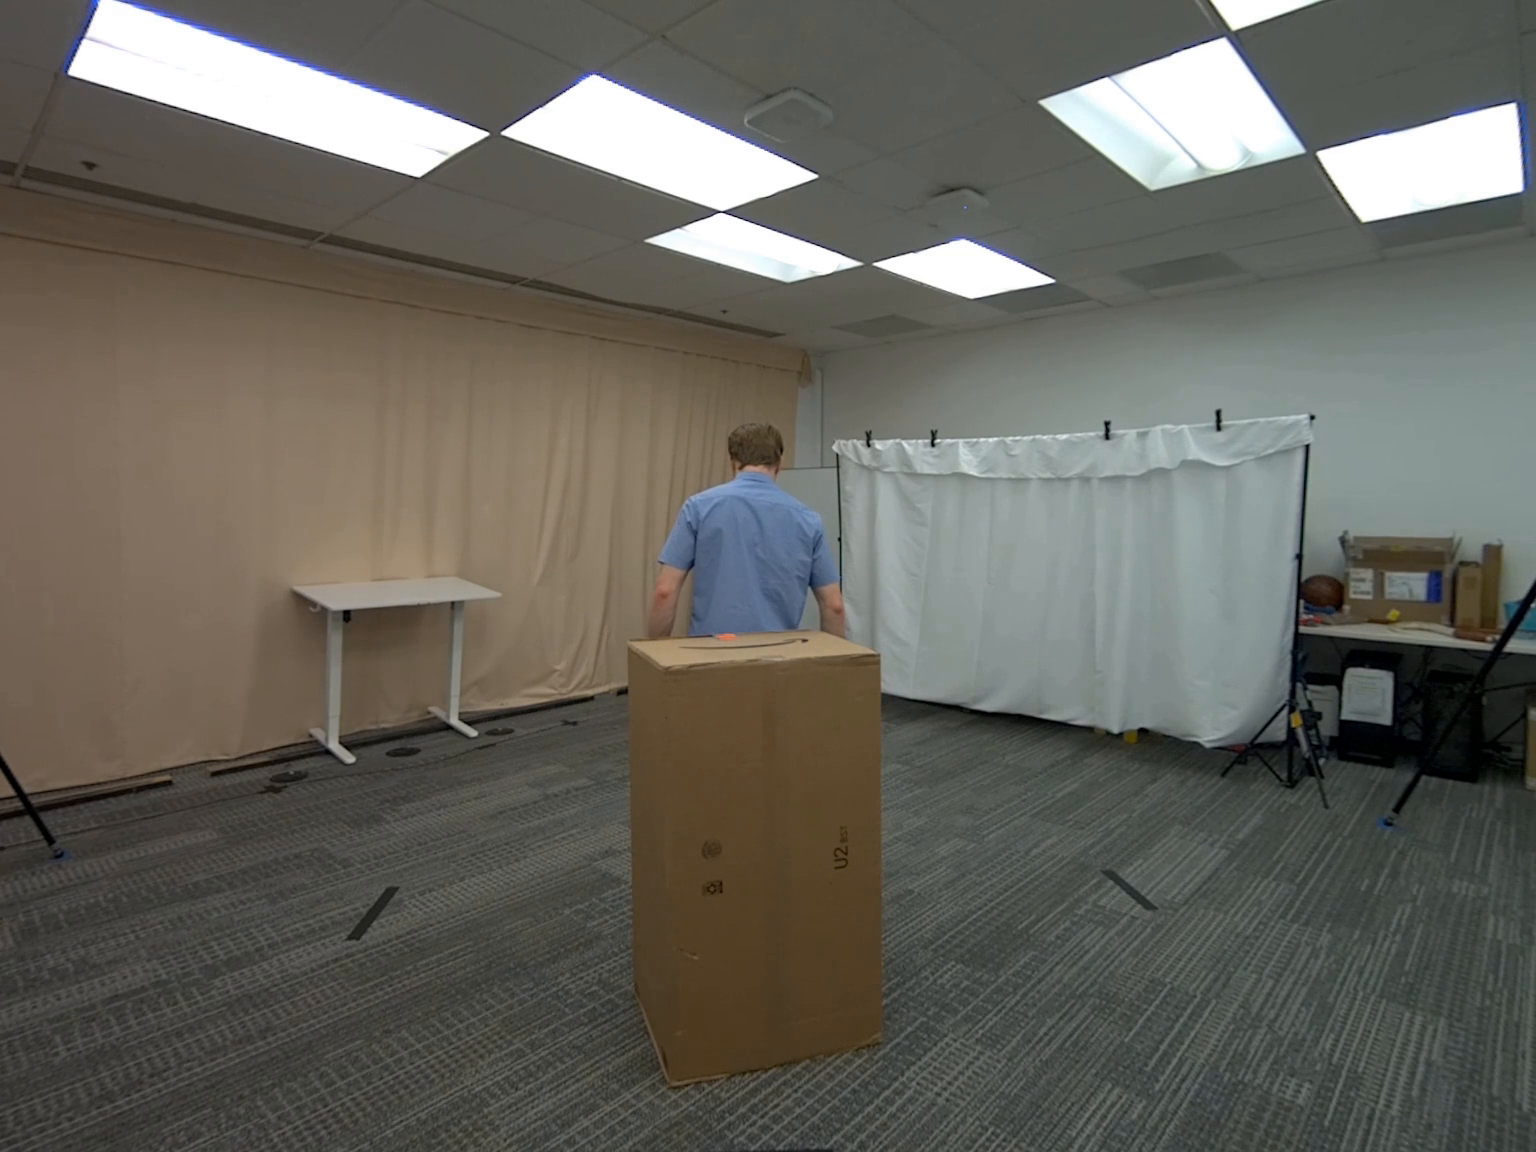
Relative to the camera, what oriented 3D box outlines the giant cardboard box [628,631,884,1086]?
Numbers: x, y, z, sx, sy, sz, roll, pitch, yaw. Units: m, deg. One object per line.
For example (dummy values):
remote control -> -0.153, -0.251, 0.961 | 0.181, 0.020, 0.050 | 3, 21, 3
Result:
giant cardboard box -> -0.047, 0.700, 2.267 | 0.573, 1.024, 0.457 | -2, 4, -20
